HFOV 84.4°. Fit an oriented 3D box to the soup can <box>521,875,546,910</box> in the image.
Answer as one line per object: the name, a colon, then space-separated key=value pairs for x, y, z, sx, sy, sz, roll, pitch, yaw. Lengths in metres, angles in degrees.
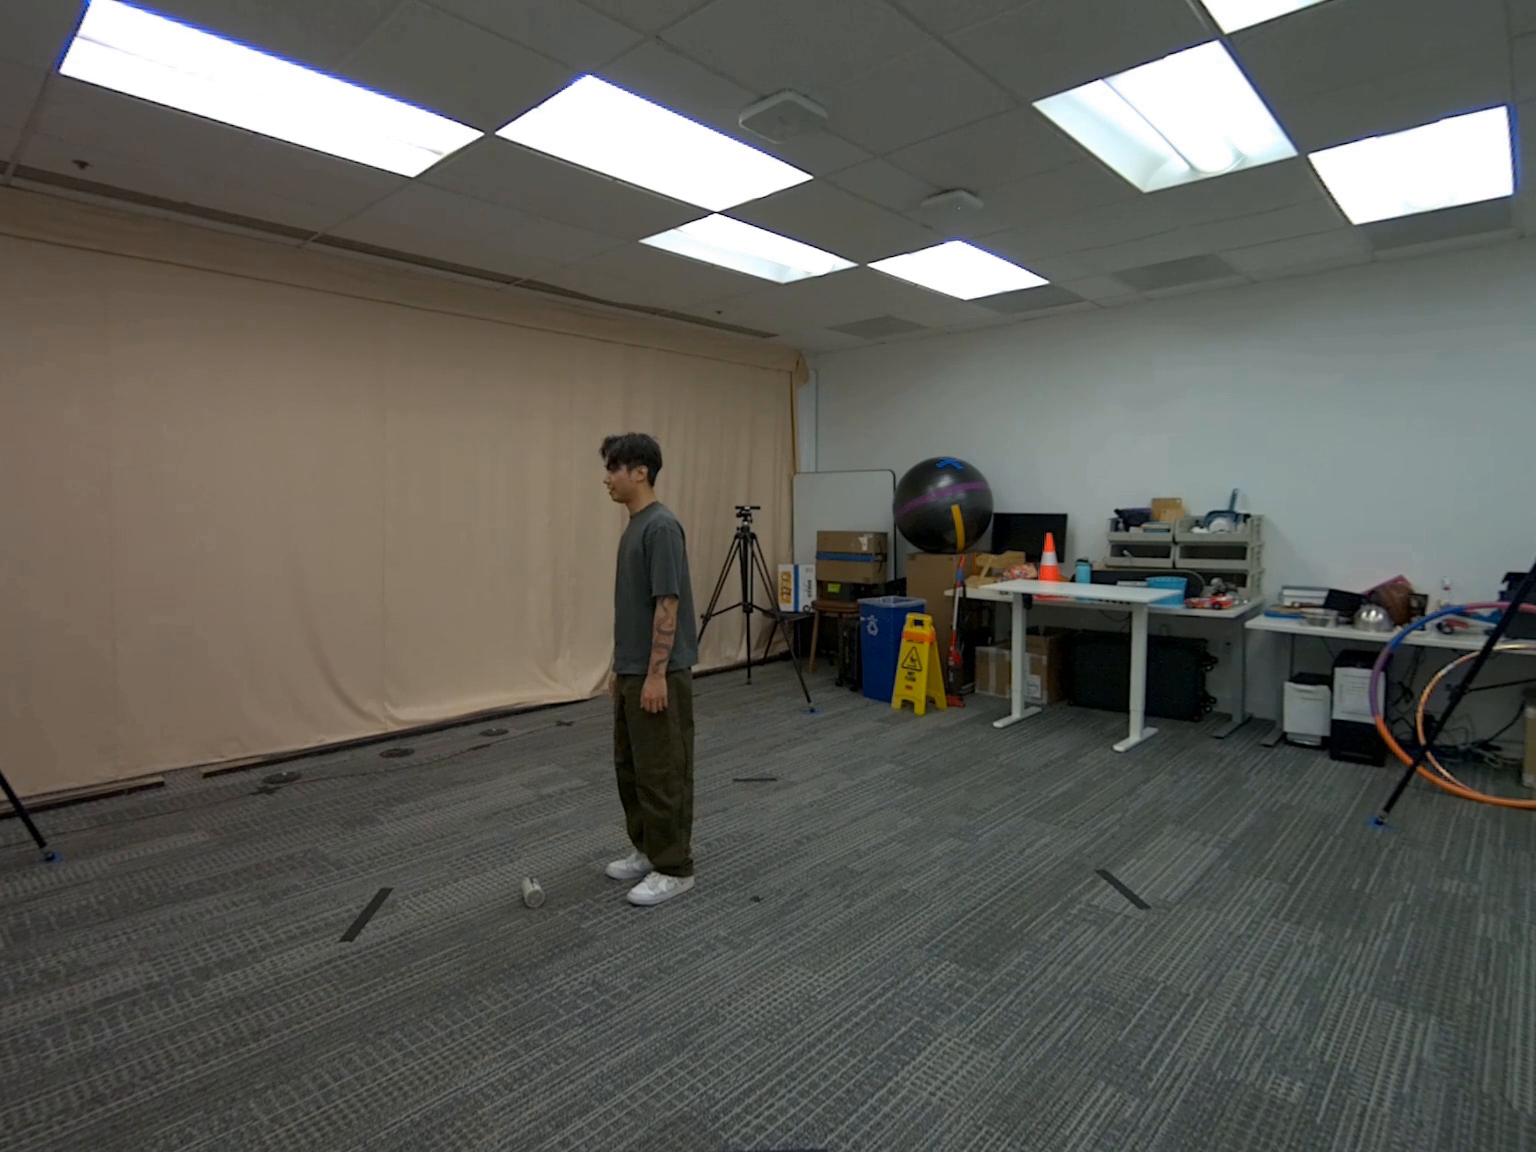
soup can: x=-0.833 y=1.119 z=2.982 sx=0.065 sy=0.067 sz=0.124 roll=-2 pitch=2 yaw=-24
